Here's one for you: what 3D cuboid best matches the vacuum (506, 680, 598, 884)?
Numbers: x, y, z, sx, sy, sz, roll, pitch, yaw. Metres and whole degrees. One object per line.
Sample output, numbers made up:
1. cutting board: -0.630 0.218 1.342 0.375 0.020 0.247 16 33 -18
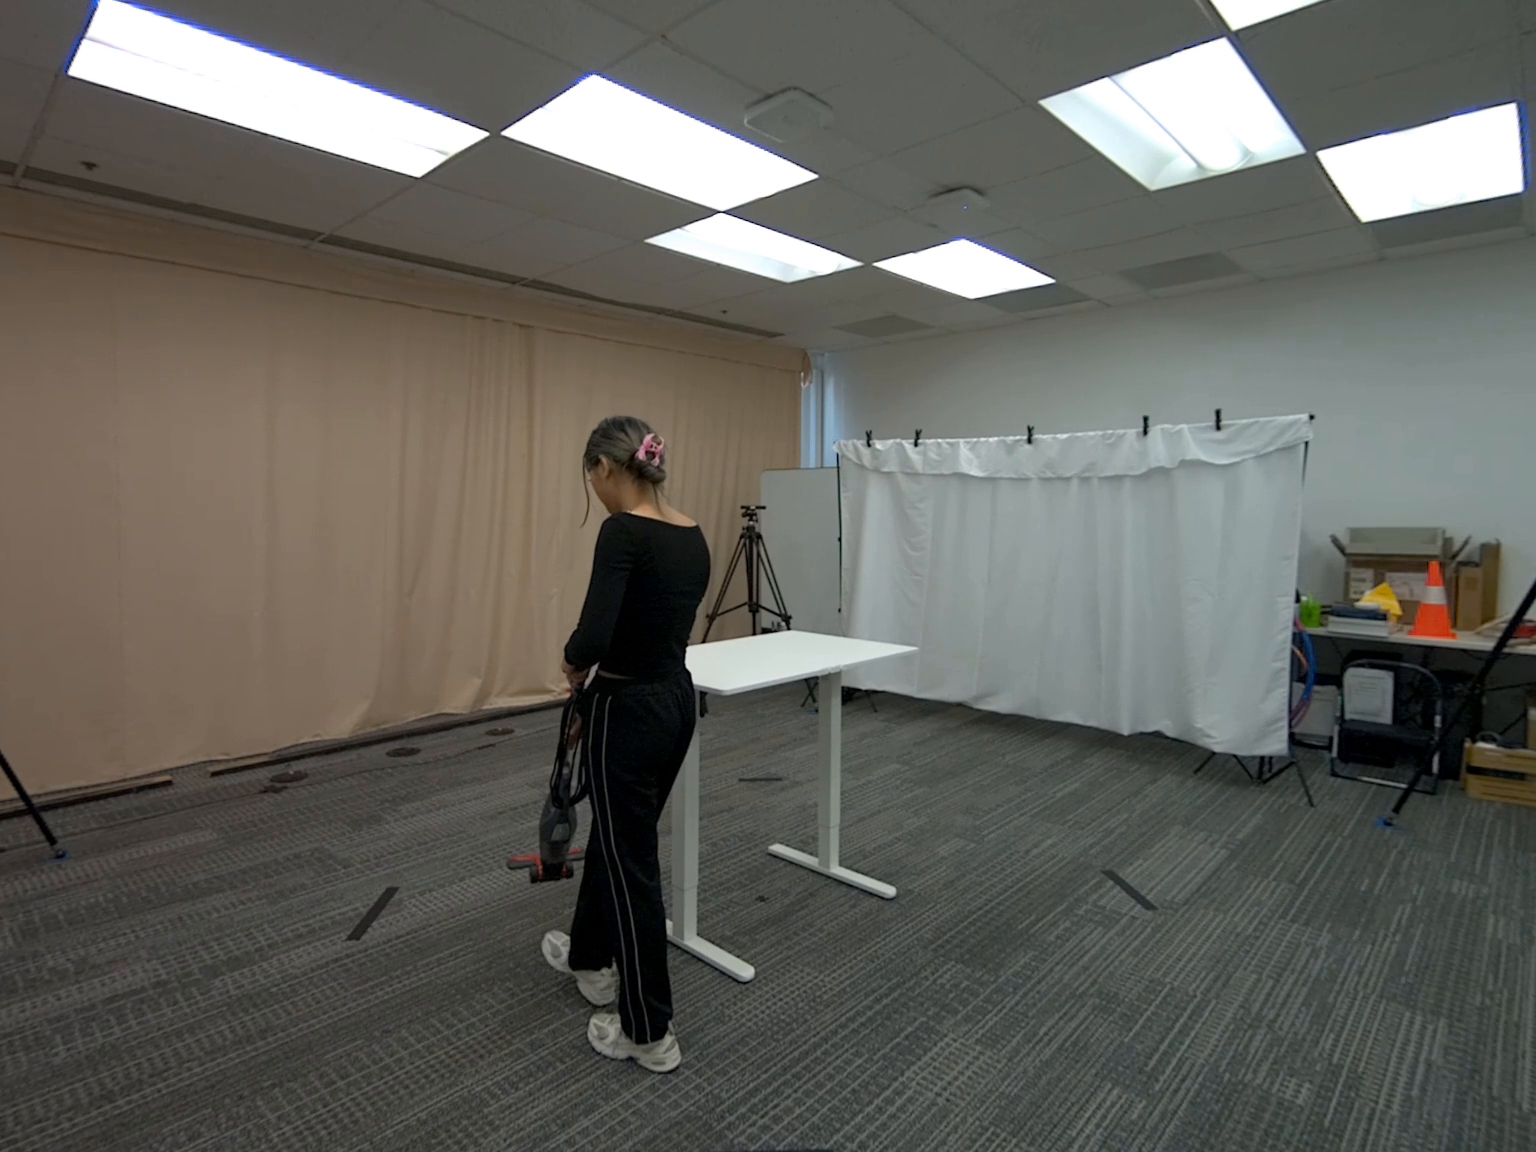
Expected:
1. vacuum: -0.575 0.575 2.366 0.246 1.042 0.148 -9 48 -32
